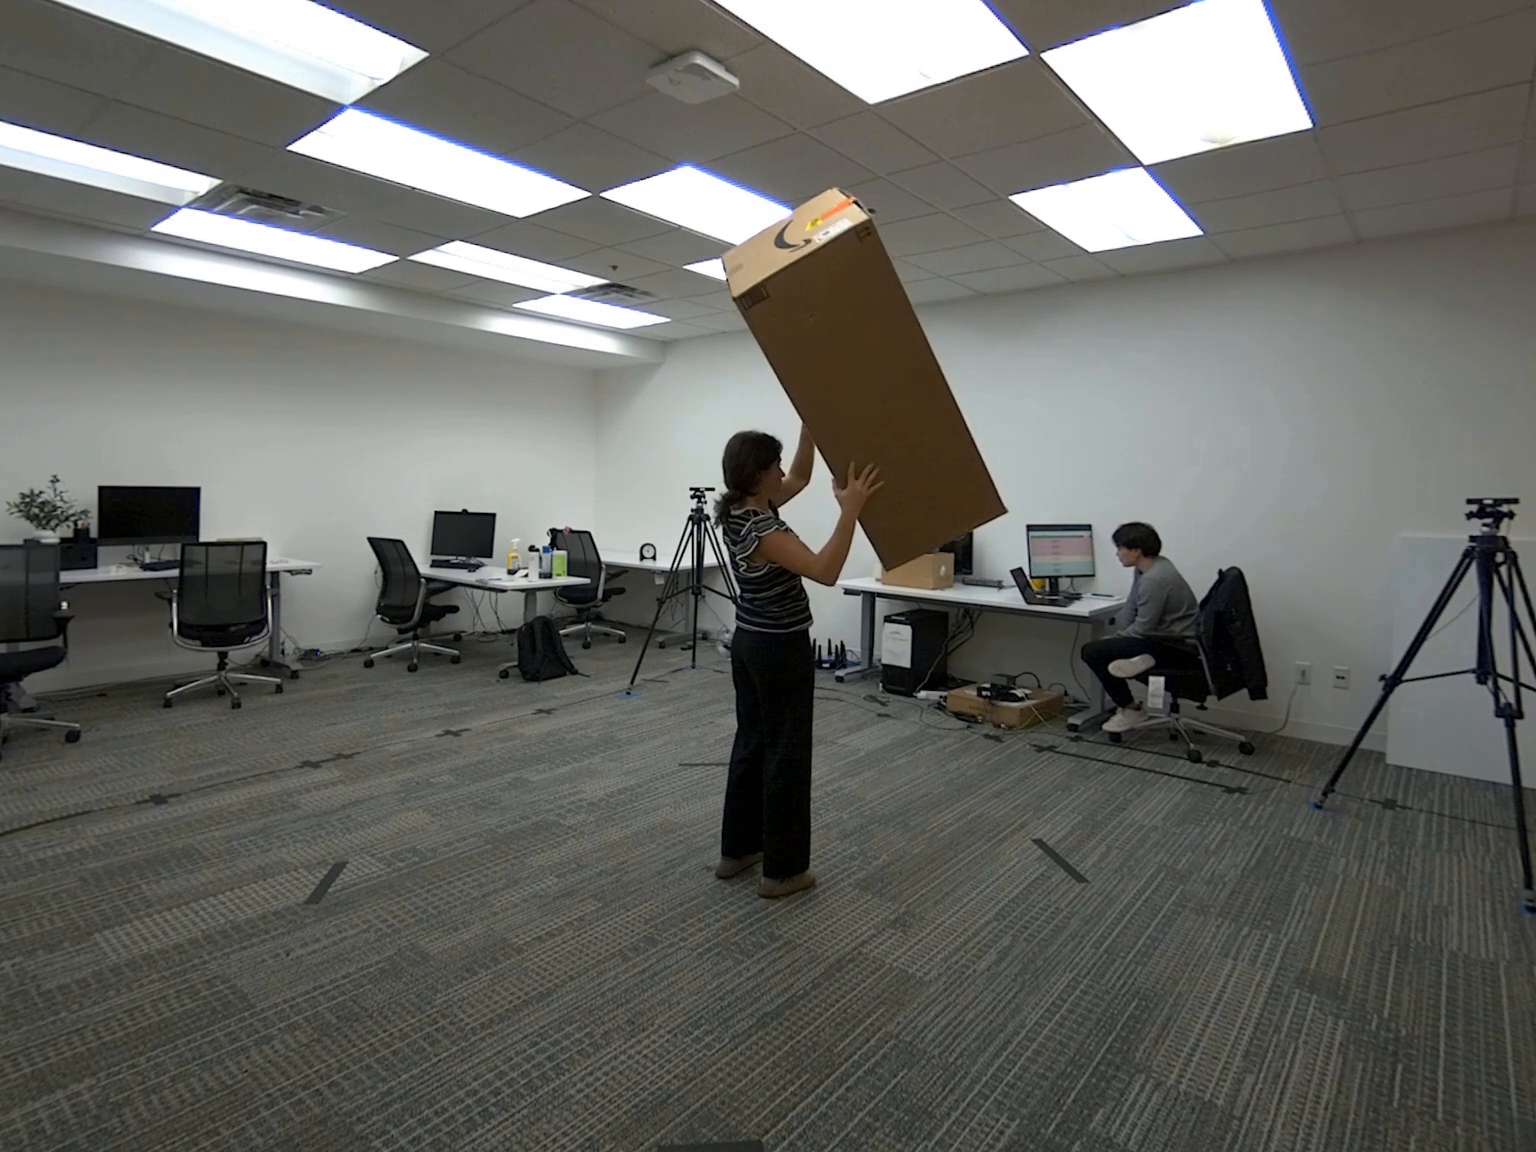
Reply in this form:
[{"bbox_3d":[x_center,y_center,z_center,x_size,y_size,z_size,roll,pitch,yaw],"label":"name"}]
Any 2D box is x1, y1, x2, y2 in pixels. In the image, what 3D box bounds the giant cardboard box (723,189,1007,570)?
[{"bbox_3d":[0.284,-0.629,2.735,0.428,0.992,0.594,-28,28,11],"label":"giant cardboard box"}]
